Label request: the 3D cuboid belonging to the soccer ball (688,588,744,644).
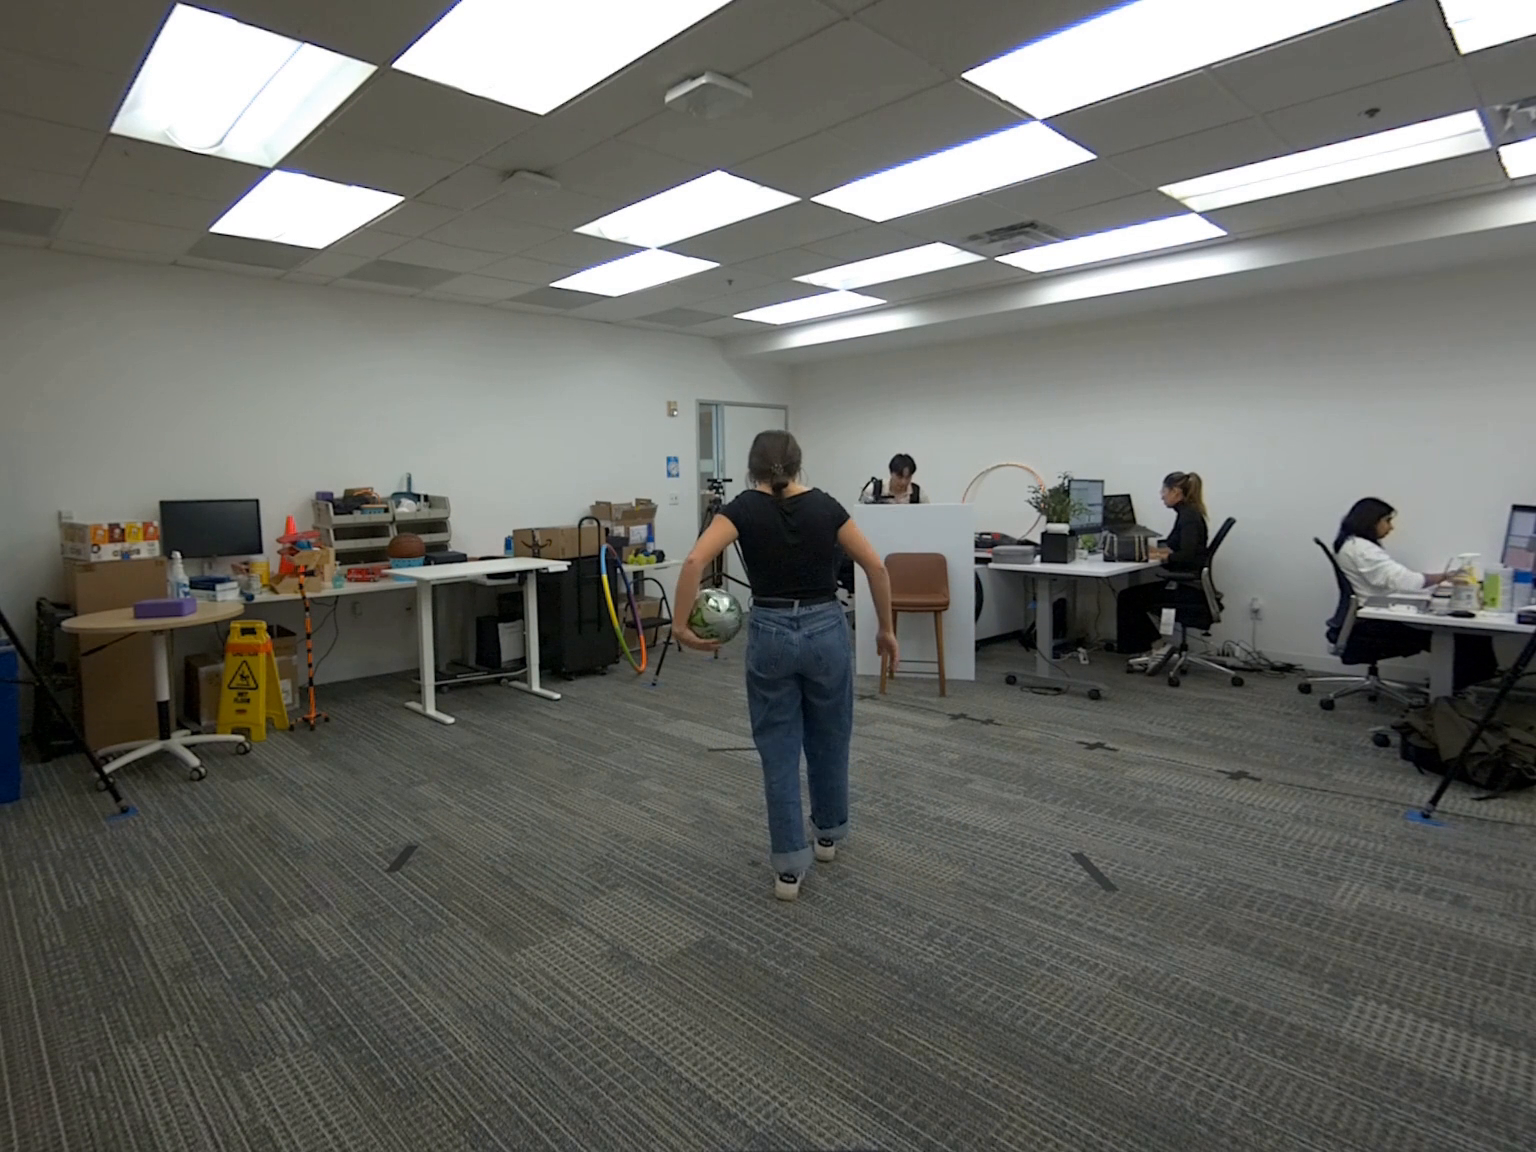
[{"bbox_3d":[-0.161,0.130,2.785,0.187,0.187,0.188,-1,5,-2],"label":"soccer ball"}]
